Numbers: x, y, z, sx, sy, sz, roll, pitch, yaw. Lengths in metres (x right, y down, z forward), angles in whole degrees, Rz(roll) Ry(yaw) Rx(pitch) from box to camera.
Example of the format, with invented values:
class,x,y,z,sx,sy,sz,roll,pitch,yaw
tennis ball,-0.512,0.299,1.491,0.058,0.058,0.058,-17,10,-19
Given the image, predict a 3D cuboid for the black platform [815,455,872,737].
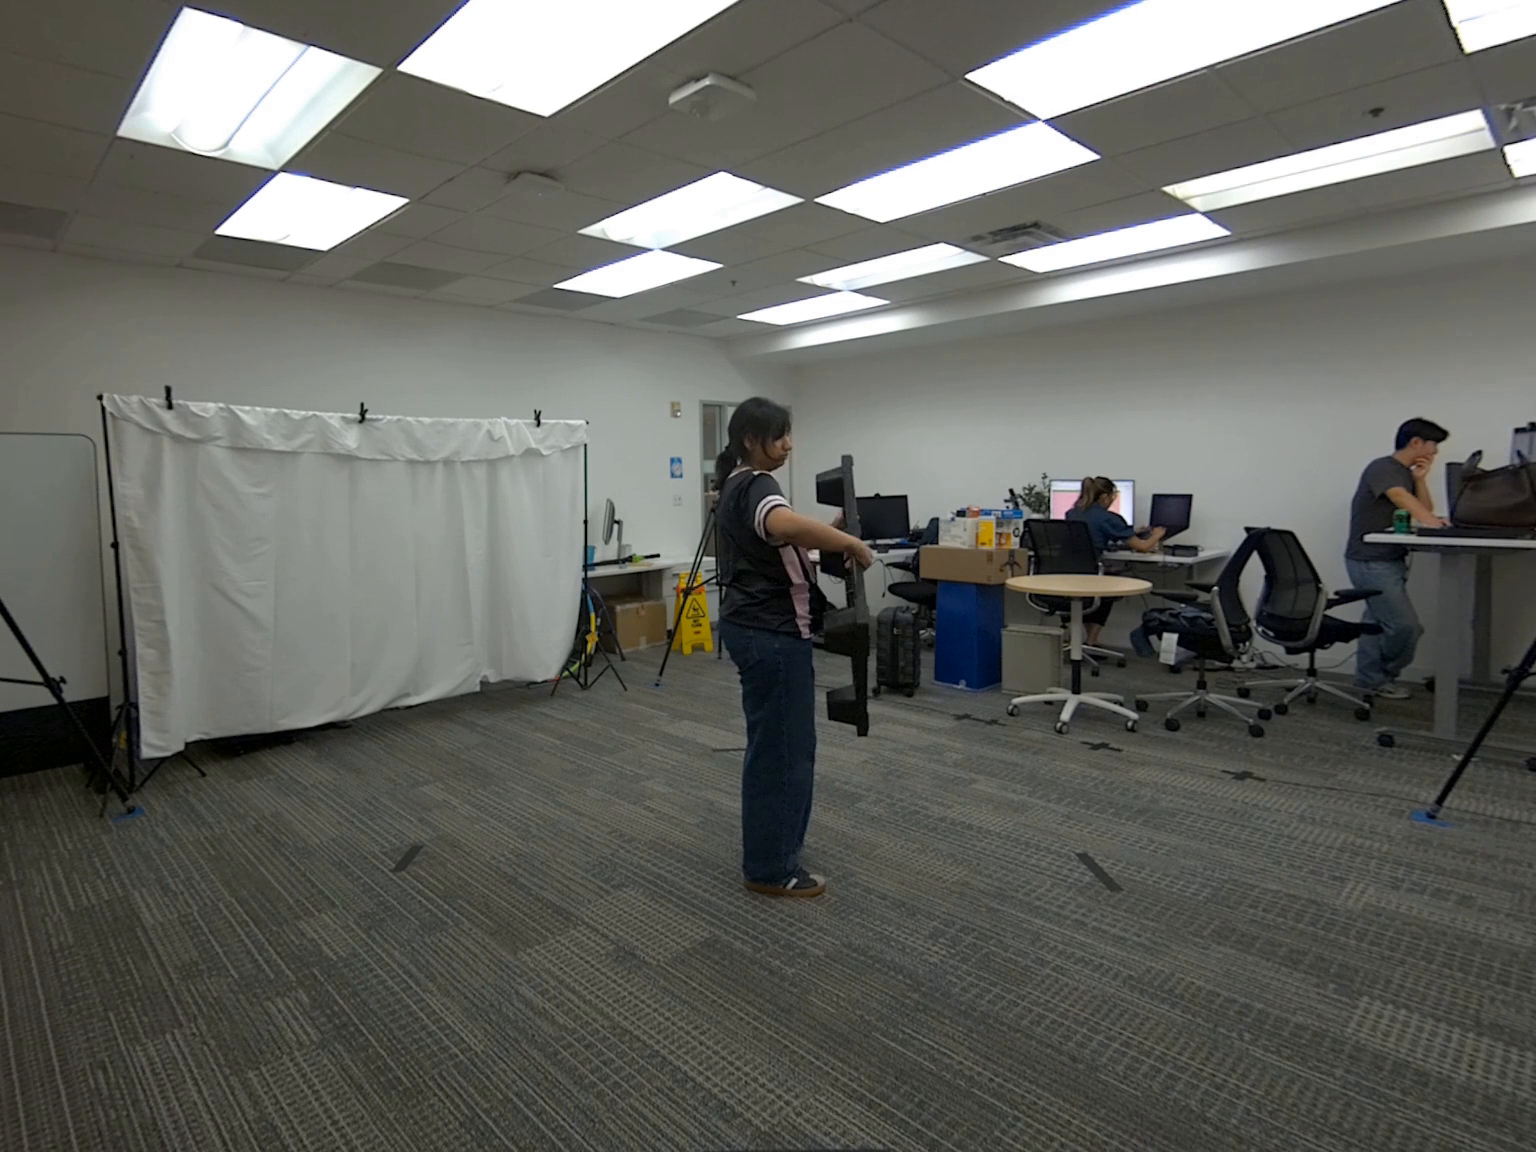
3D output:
class,x,y,z,sx,sy,sz,roll,pitch,yaw
black platform,0.259,0.054,2.965,0.144,0.586,0.826,-3,45,4
